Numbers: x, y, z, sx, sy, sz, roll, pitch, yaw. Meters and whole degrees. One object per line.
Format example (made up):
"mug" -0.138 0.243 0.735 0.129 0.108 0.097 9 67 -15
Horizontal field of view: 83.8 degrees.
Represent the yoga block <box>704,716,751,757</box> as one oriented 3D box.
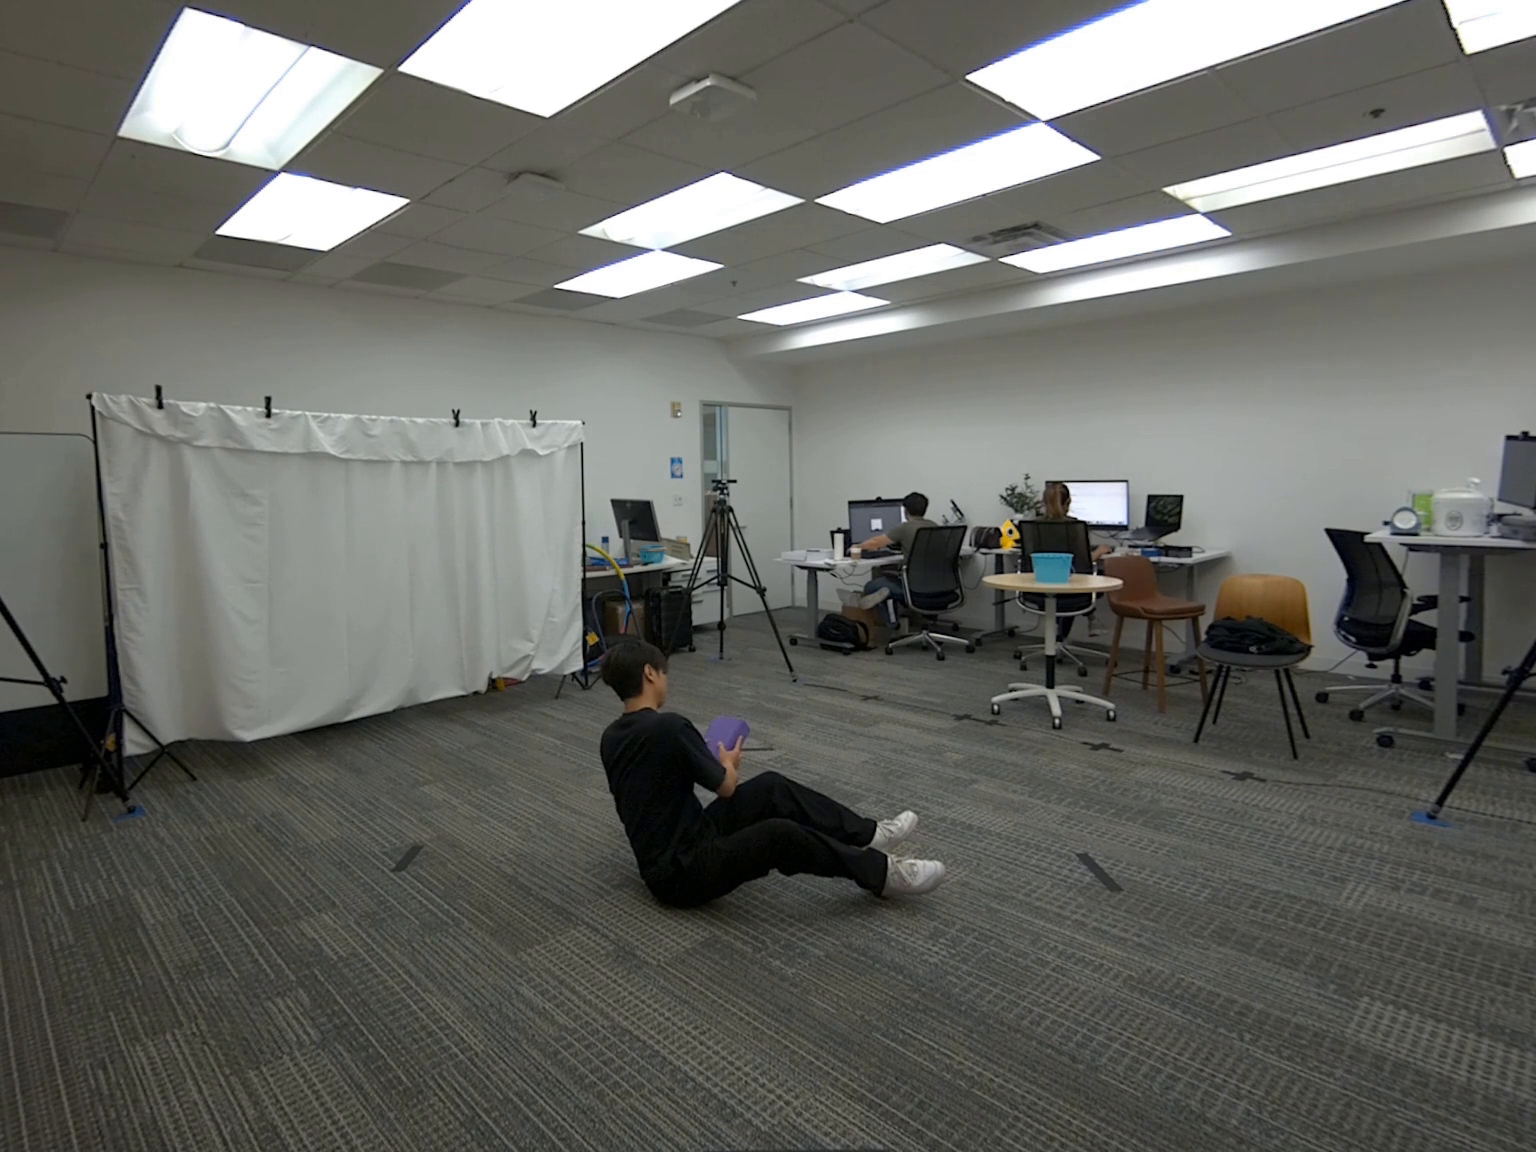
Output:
"yoga block" -0.179 0.646 3.261 0.153 0.074 0.231 -4 40 39
